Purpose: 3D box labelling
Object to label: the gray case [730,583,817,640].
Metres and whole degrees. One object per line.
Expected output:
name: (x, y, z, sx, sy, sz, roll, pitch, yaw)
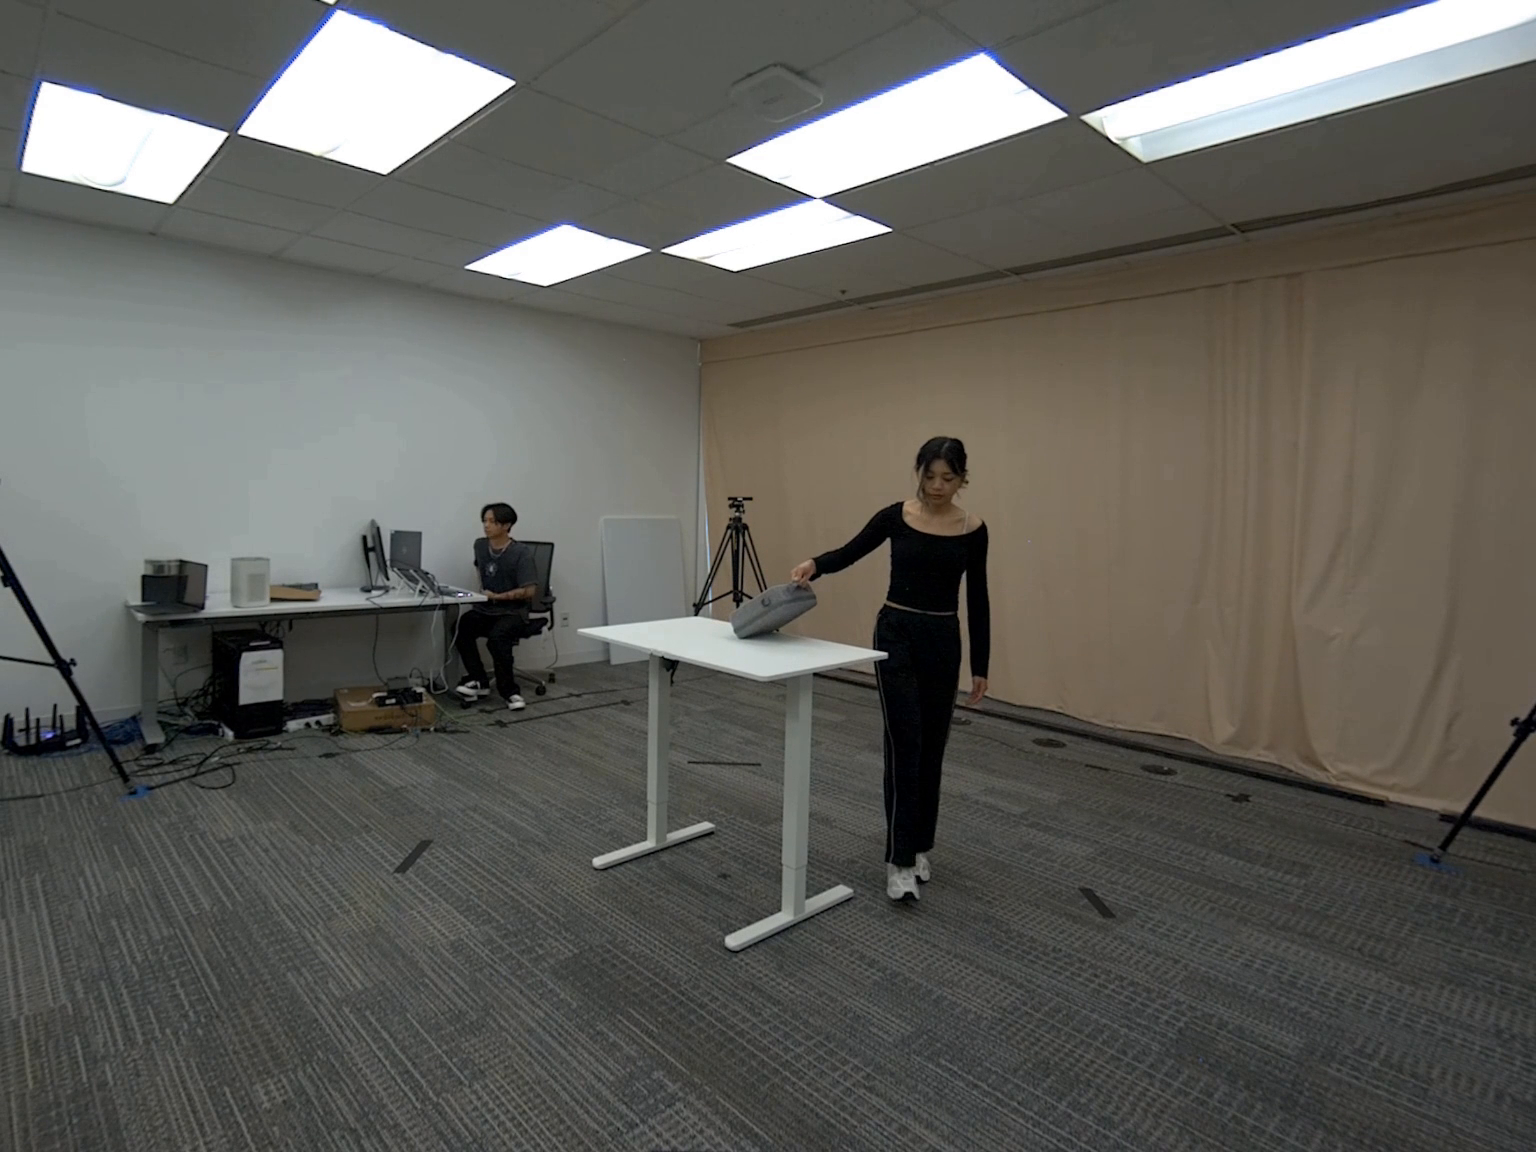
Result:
gray case: (0.005, 0.125, 3.083, 0.262, 0.106, 0.251, -33, -15, 31)
